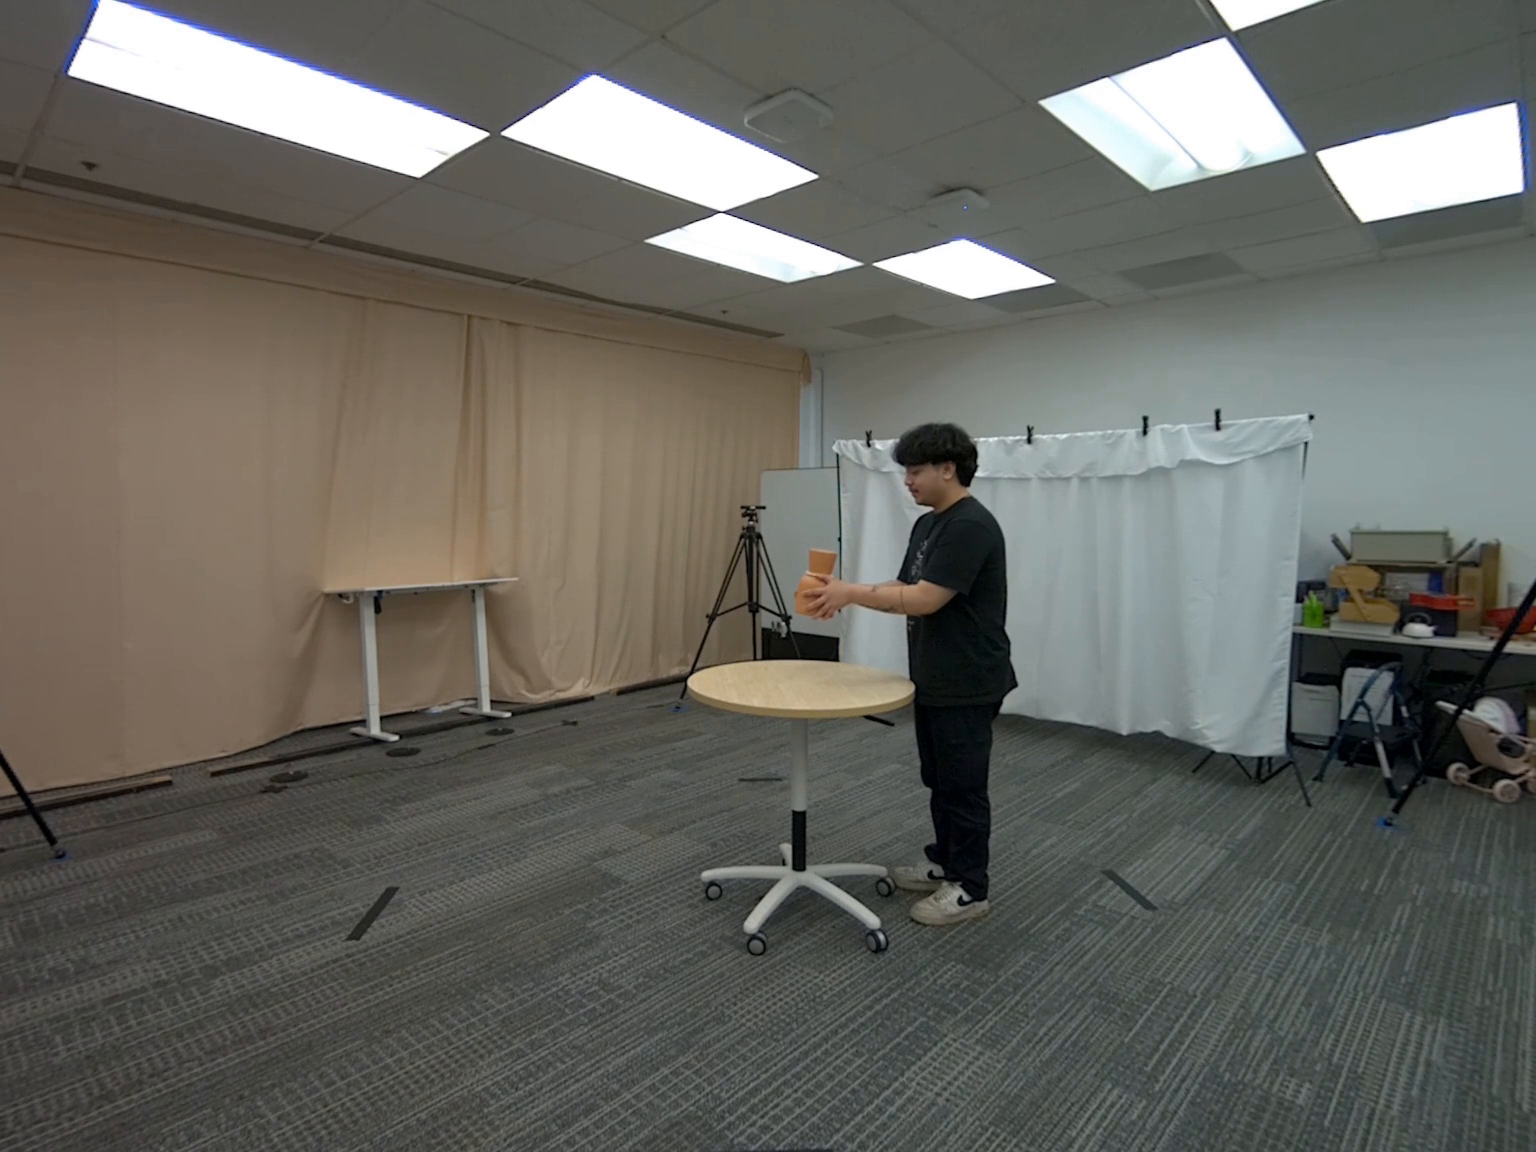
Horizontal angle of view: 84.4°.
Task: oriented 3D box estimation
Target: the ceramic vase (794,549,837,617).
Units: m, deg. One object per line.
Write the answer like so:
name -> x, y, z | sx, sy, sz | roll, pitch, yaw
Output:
ceramic vase -> 0.188, 0.026, 2.879 | 0.160, 0.219, 0.134 | 9, 6, 7
